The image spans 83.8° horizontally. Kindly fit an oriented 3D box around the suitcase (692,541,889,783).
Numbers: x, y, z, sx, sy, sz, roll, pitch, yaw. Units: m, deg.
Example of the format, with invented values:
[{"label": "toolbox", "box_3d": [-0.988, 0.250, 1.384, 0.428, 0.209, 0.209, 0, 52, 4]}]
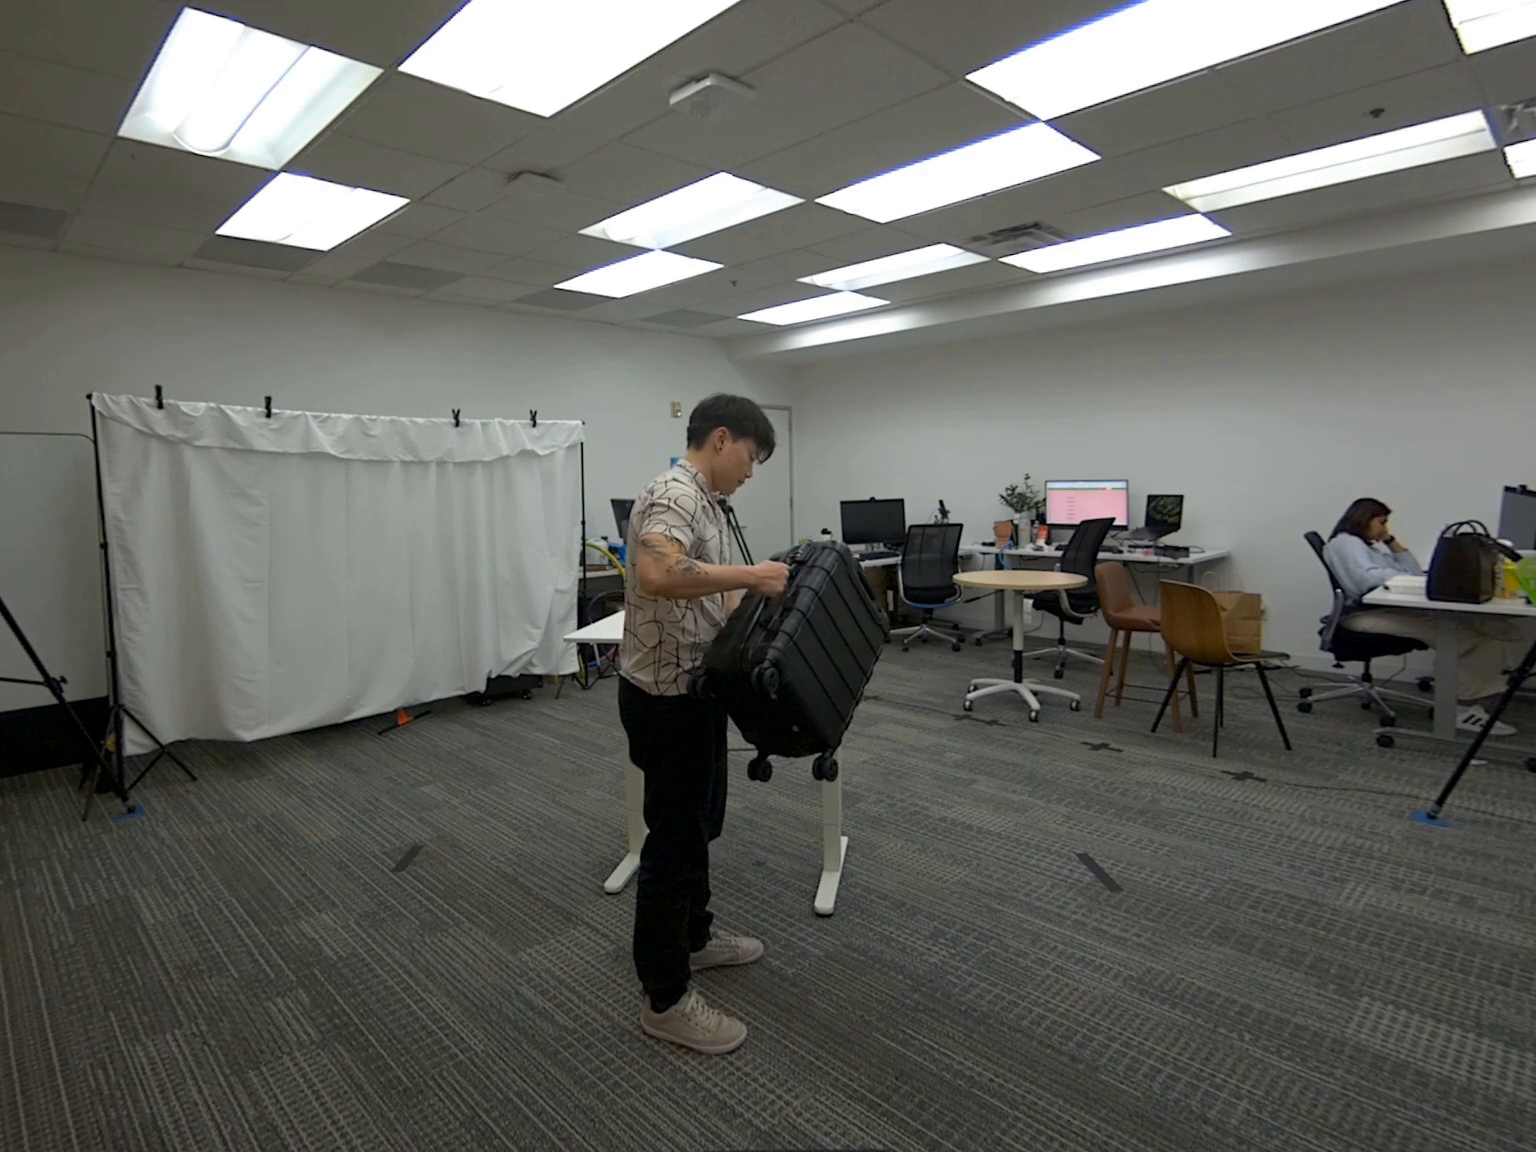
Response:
[{"label": "suitcase", "box_3d": [0.080, 0.186, 2.186, 0.253, 0.365, 0.553, -14, 30, 39]}]
